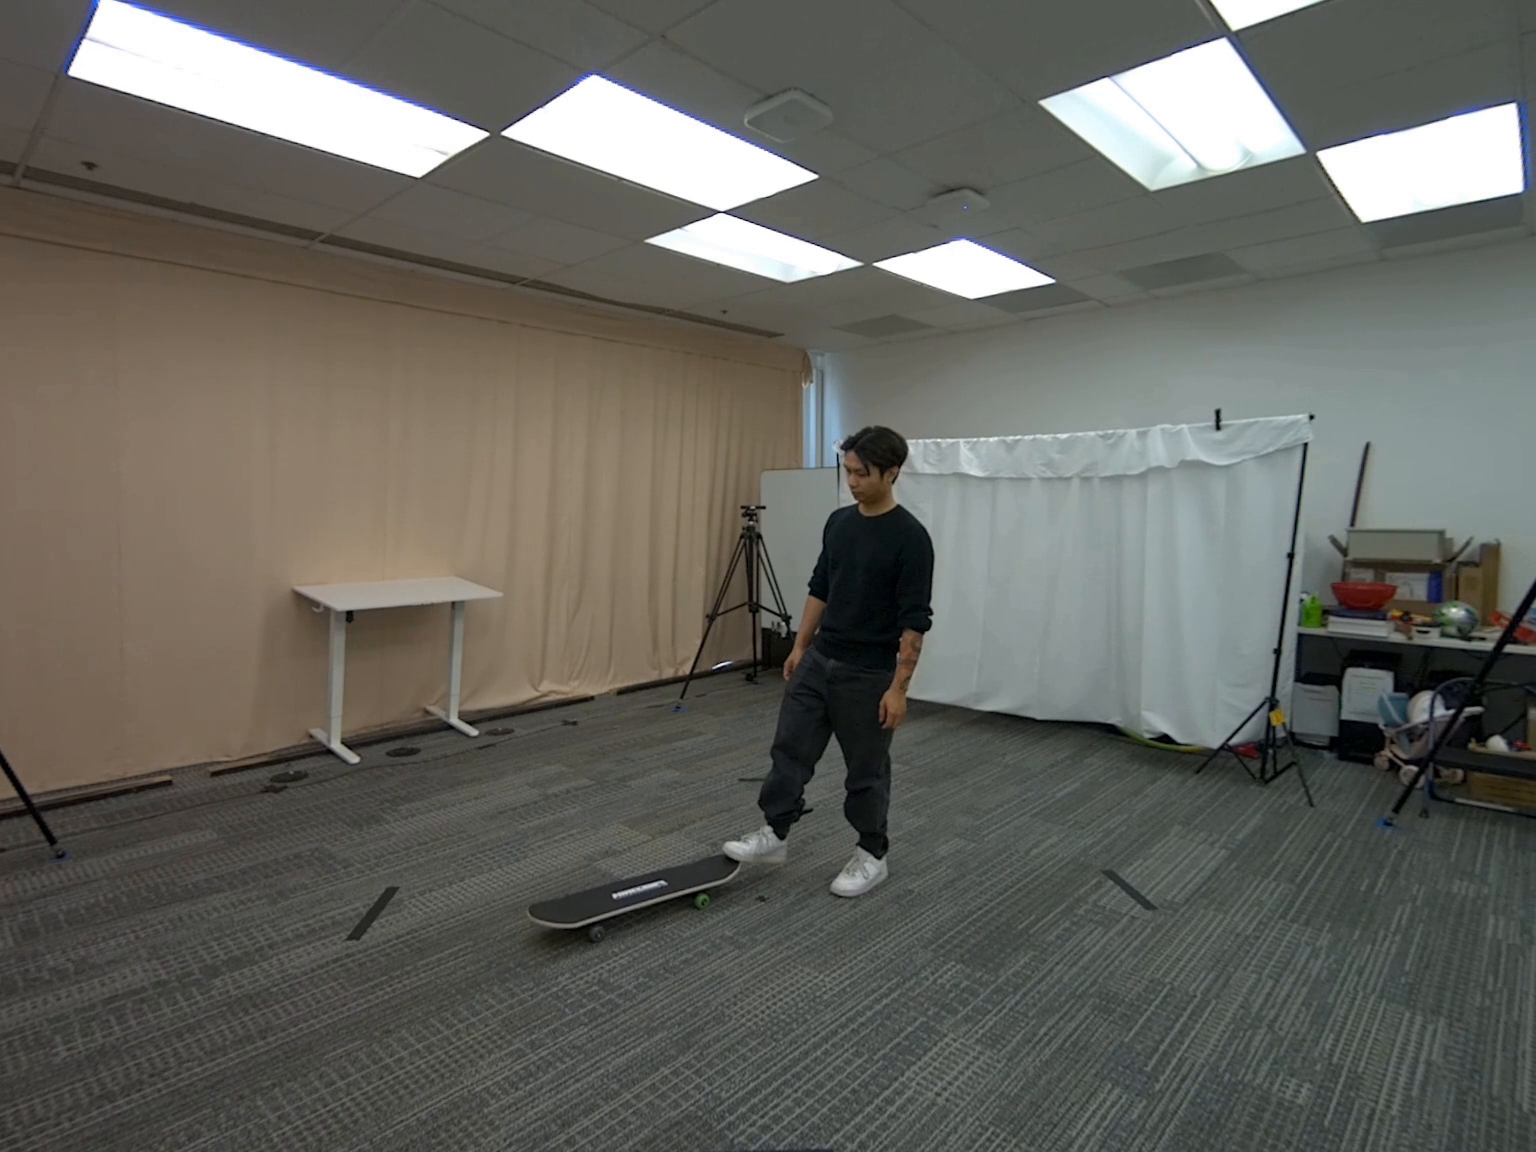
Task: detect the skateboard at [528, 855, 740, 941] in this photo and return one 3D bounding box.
[{"bbox_3d":[-0.434,1.102,2.864,0.763,0.110,0.199,-3,5,-34],"label":"skateboard"}]
